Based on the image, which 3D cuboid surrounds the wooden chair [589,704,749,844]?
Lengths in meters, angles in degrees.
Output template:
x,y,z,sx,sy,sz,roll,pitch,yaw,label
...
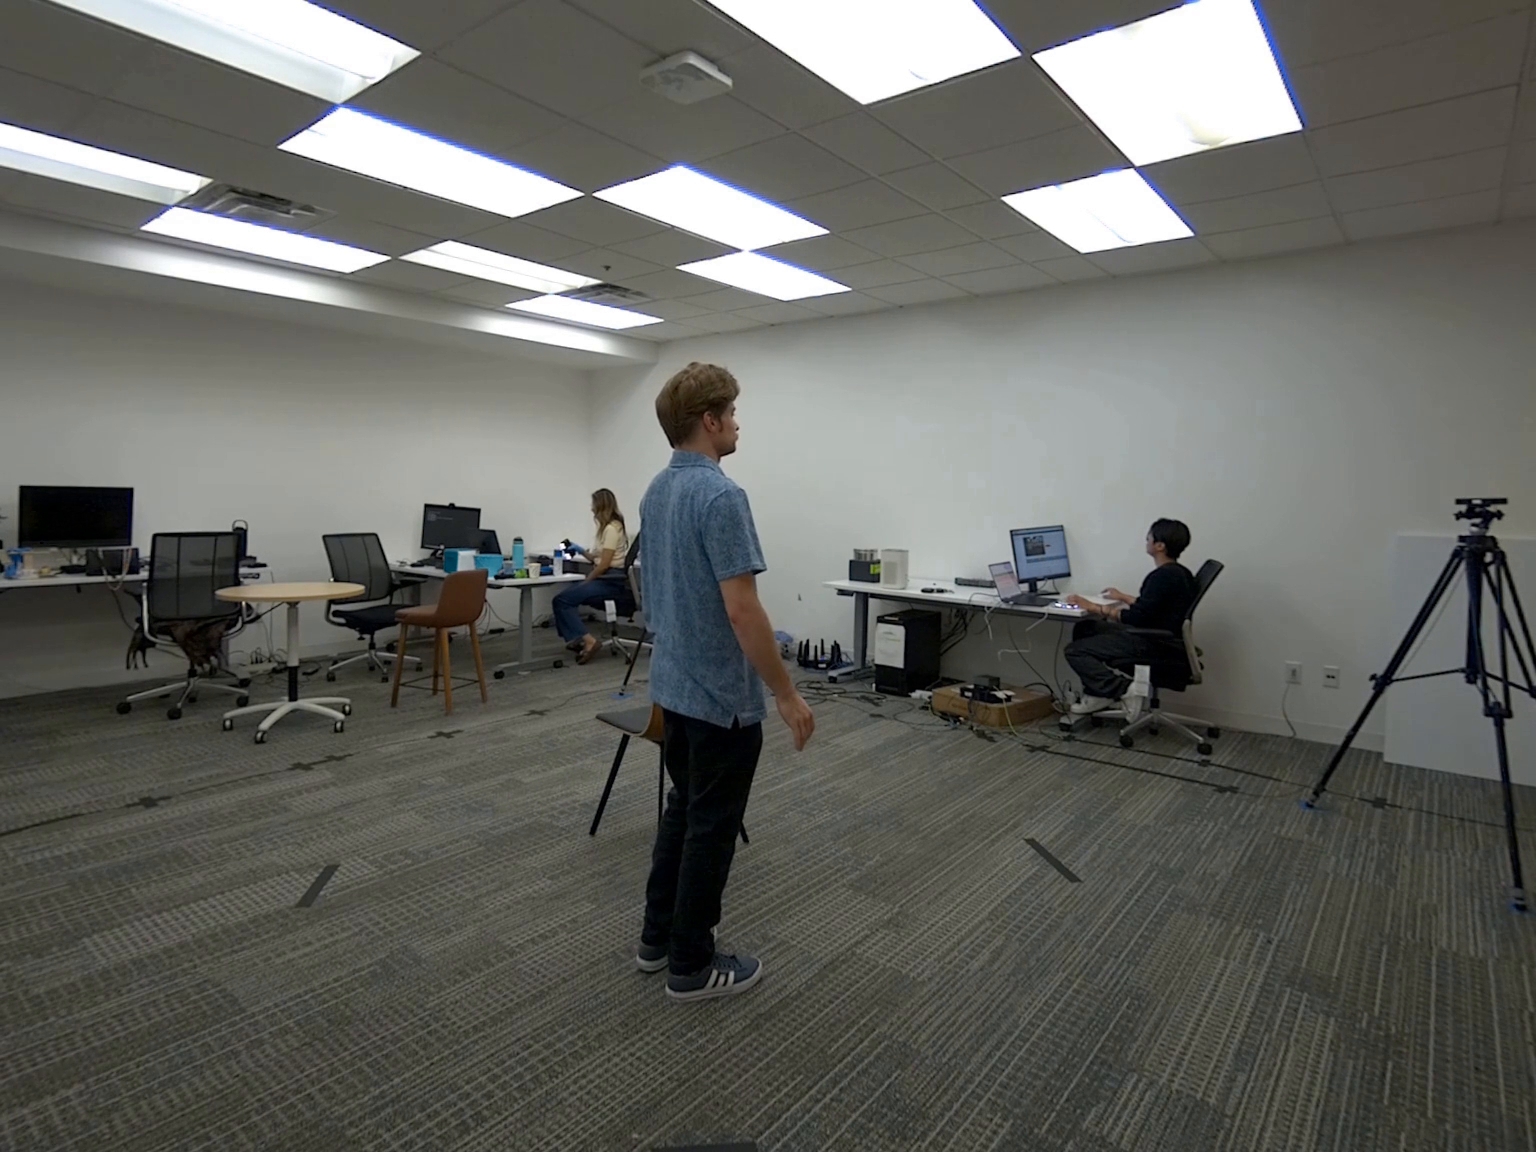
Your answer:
x,y,z,sx,sy,sz,roll,pitch,yaw,label
-0.401,0.614,3.353,0.463,0.872,0.542,-2,9,-43,wooden chair
